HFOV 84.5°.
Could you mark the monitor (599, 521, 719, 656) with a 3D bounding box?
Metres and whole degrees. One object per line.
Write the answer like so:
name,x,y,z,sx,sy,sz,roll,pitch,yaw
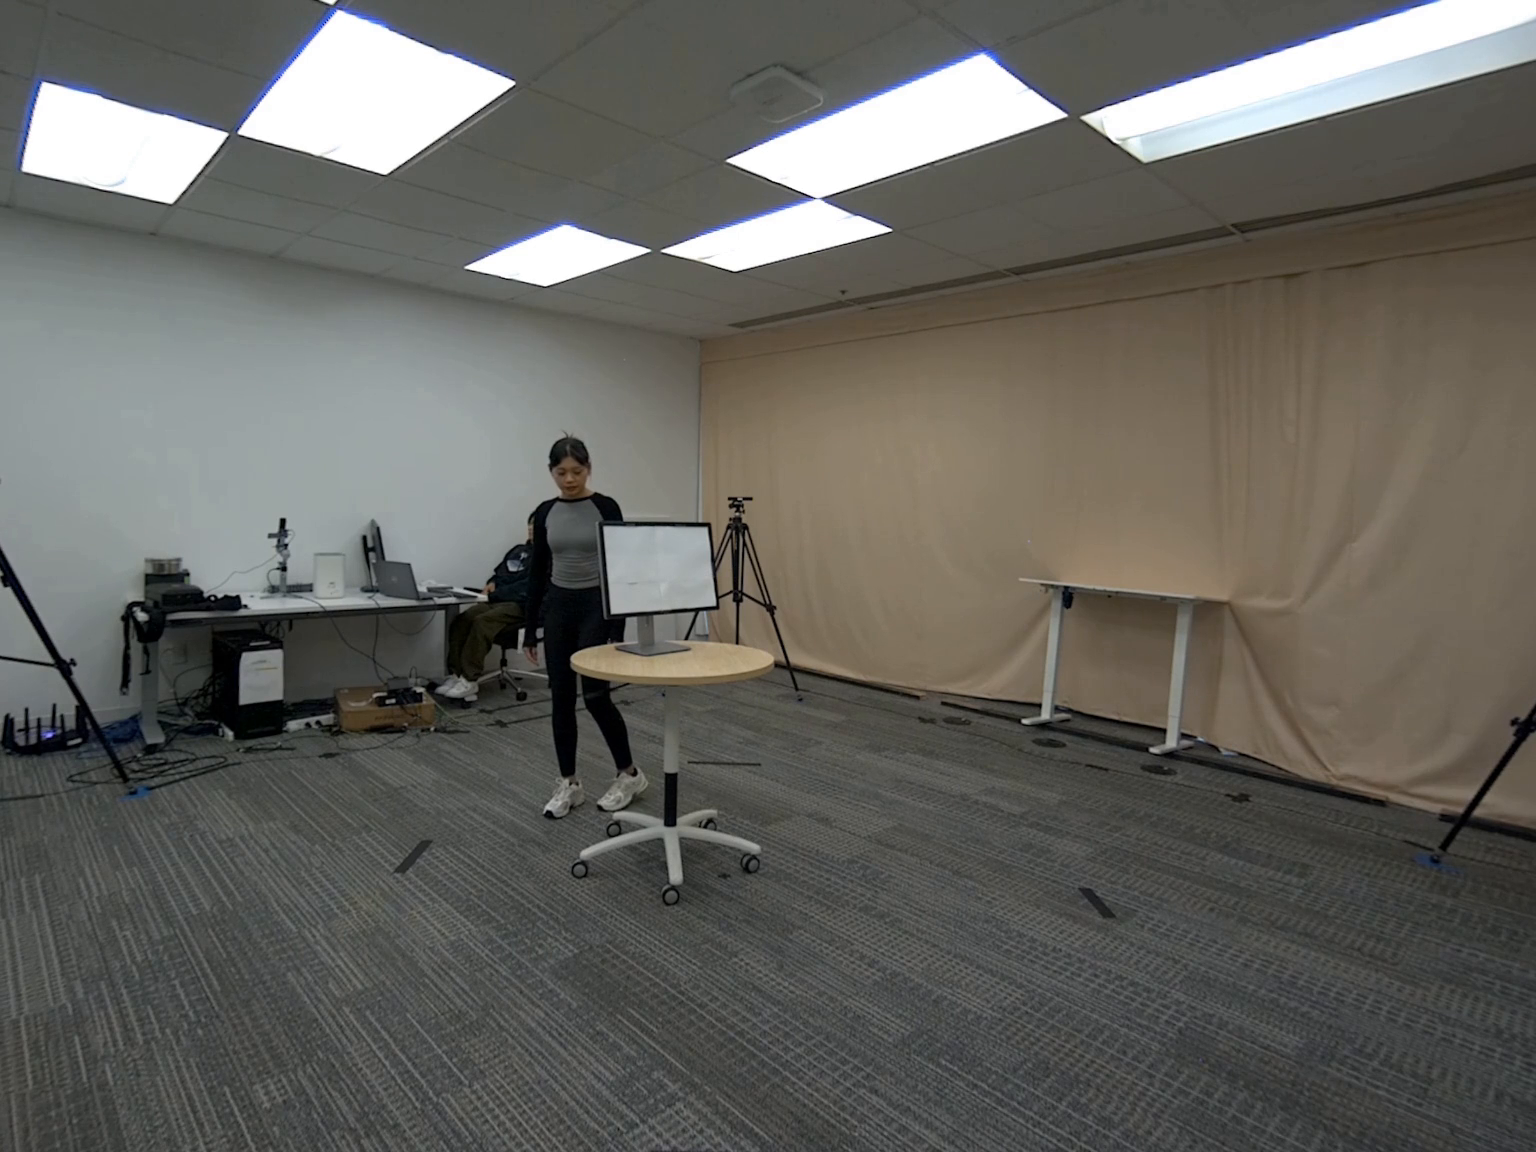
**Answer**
monitor,-0.456,0.048,3.325,0.192,0.520,0.527,8,8,43
